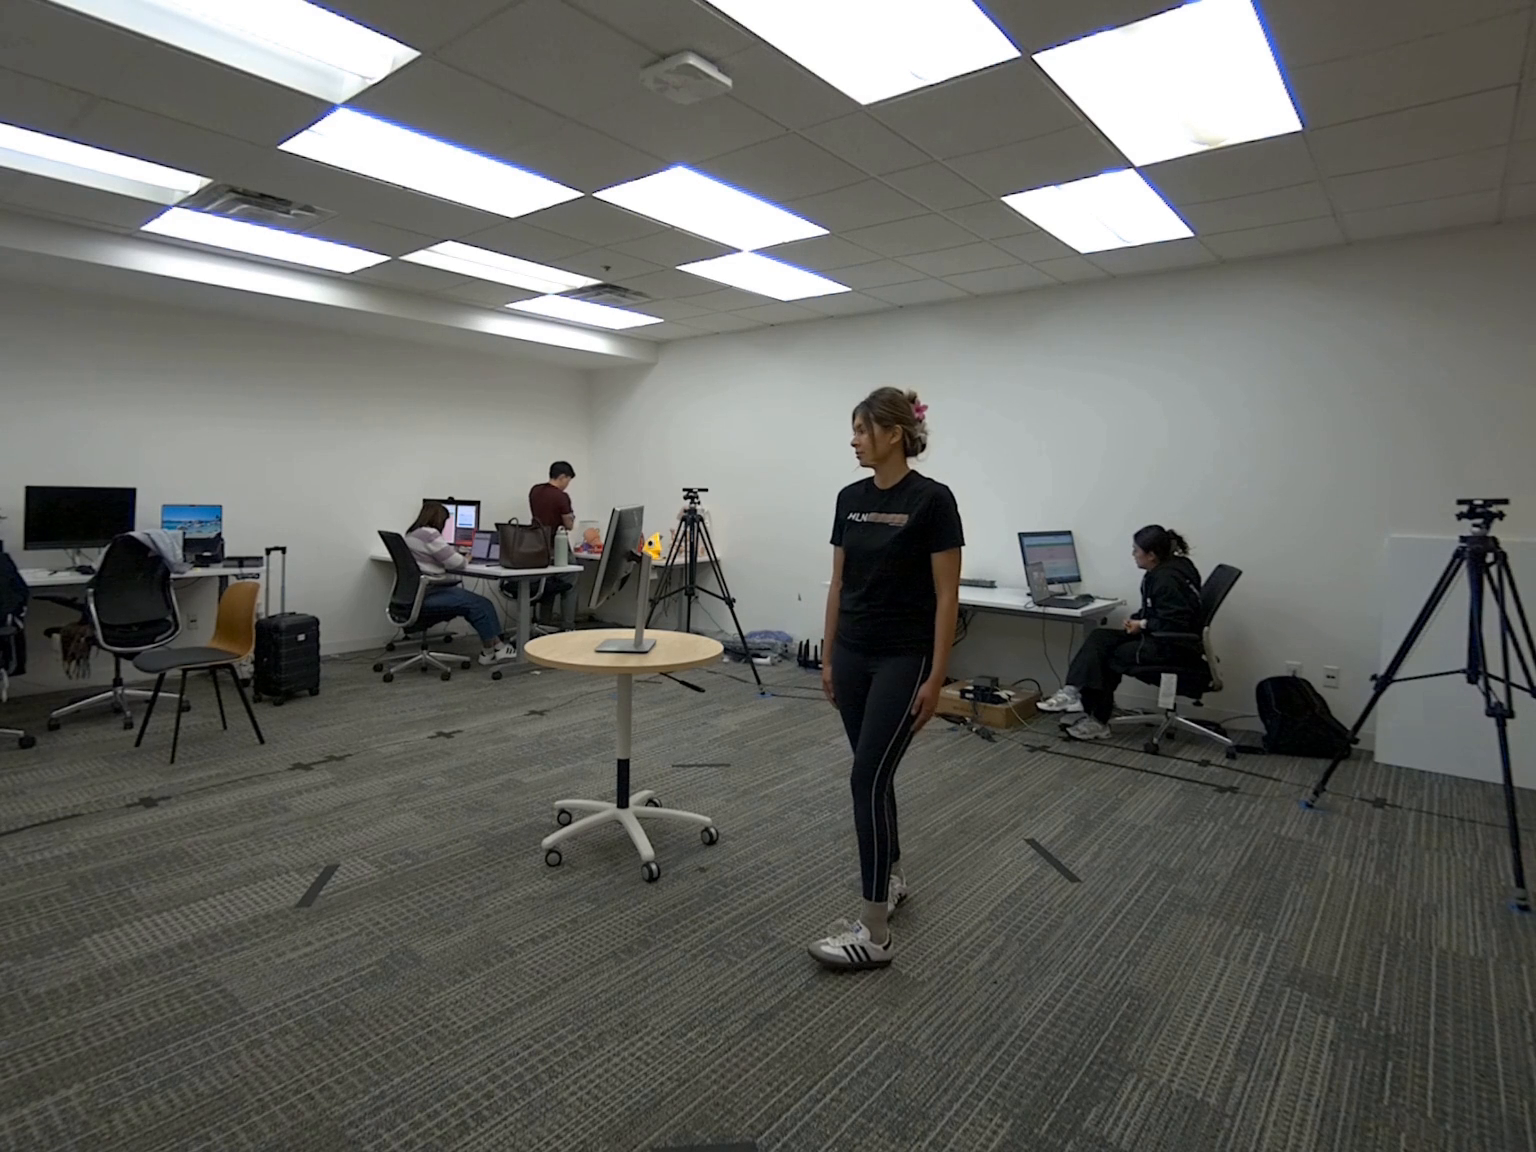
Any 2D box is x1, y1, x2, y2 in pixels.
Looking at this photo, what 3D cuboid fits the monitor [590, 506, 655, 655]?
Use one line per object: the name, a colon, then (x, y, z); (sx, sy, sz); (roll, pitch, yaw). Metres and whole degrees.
monitor: (-0.547, 0.009, 3.246); (0.187, 0.520, 0.541); (1, 5, -1)
